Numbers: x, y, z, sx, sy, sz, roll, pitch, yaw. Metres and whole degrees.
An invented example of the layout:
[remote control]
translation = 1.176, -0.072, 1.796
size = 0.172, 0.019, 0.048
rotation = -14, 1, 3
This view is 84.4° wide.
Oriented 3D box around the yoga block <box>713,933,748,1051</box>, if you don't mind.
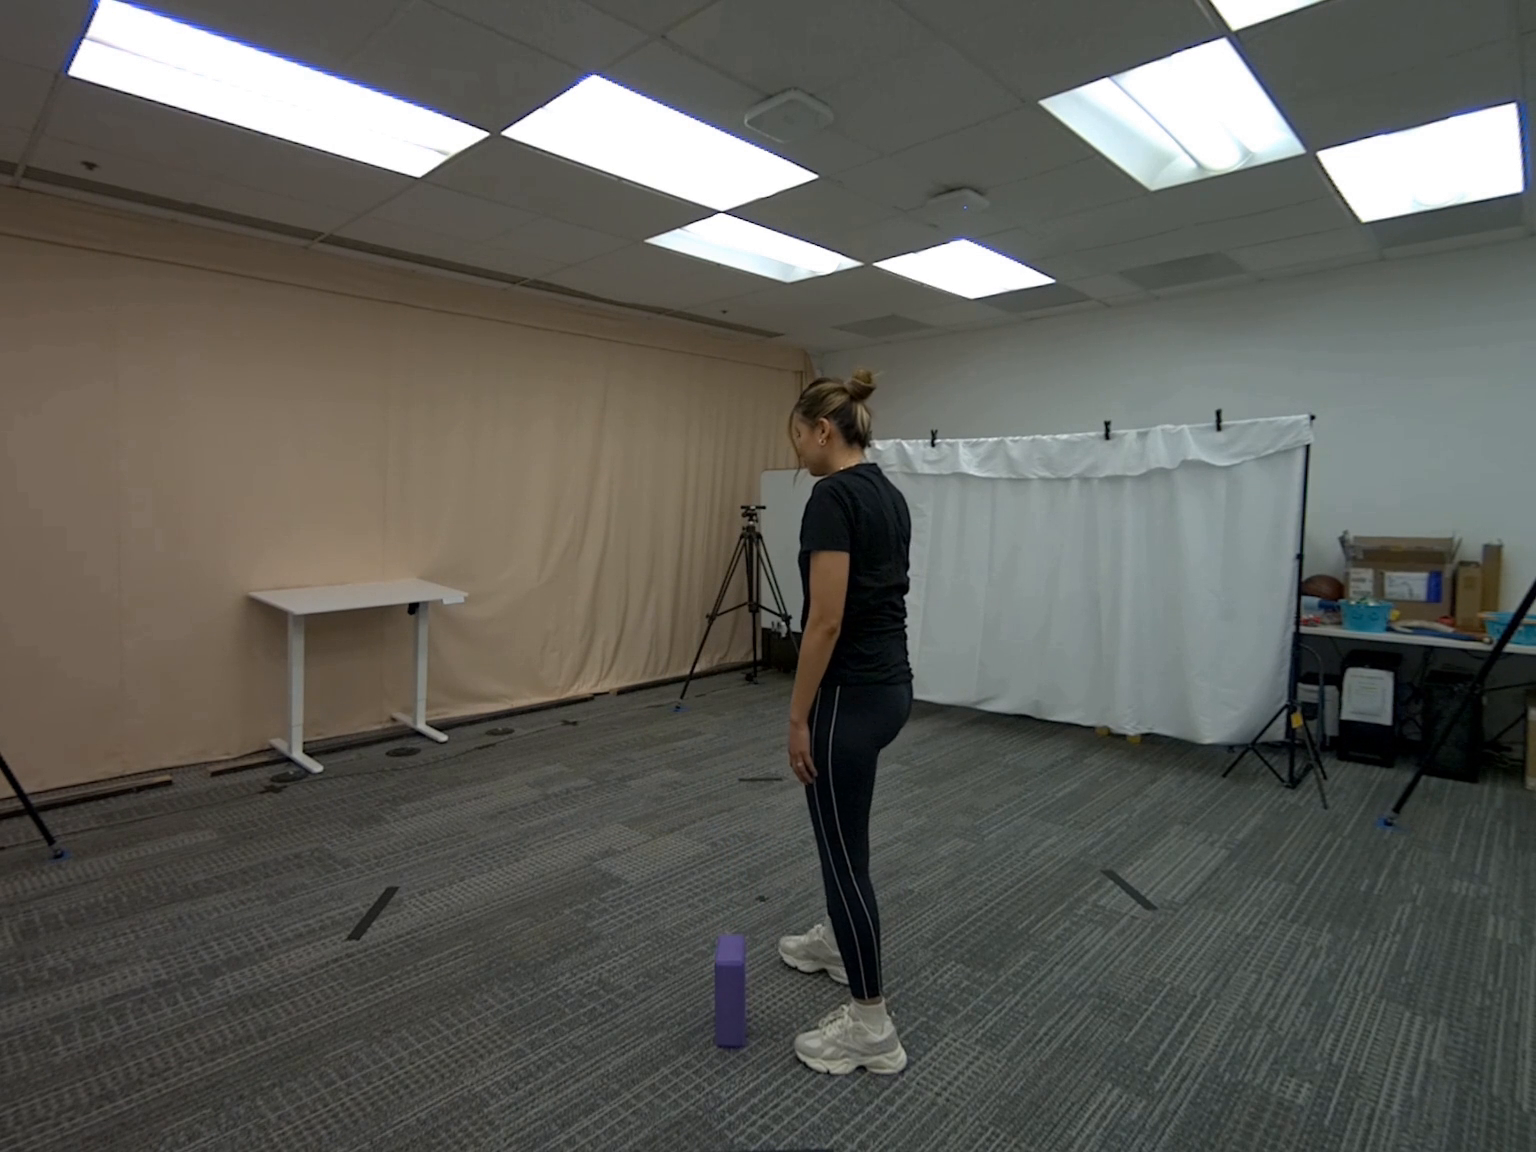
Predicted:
[yoga block]
translation = -0.096, 1.091, 2.220
size = 0.077, 0.229, 0.149
rotation = 2, 3, 1
